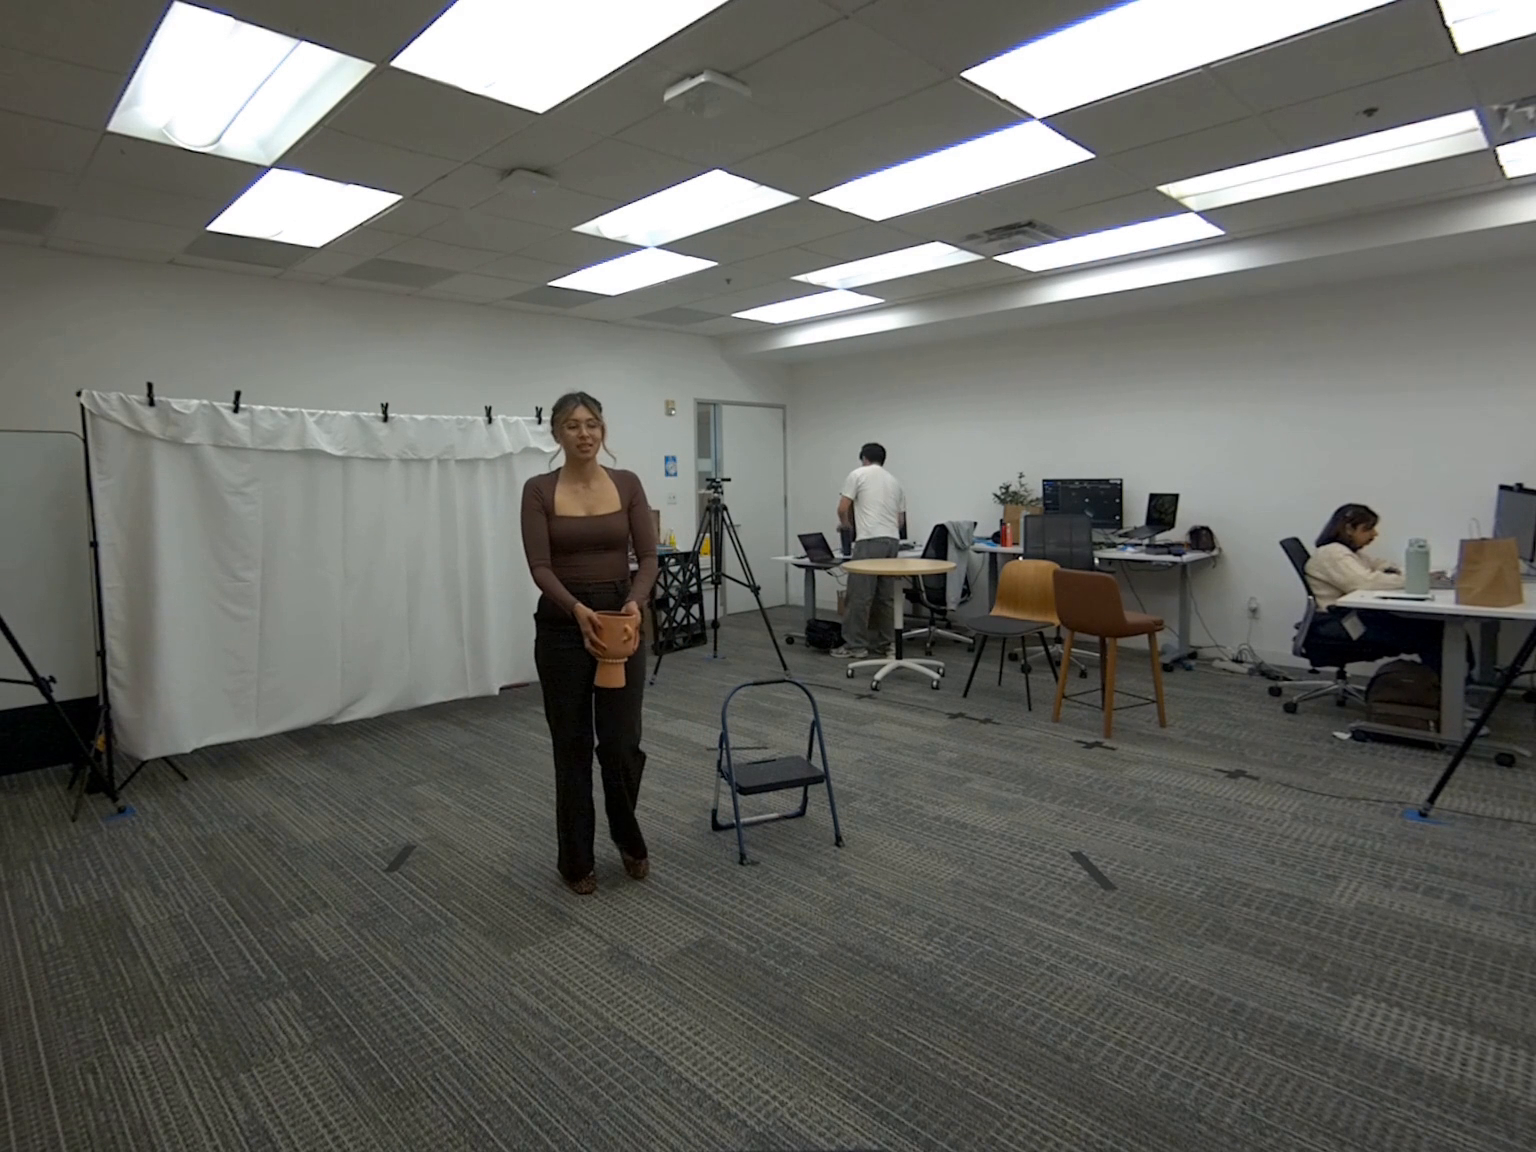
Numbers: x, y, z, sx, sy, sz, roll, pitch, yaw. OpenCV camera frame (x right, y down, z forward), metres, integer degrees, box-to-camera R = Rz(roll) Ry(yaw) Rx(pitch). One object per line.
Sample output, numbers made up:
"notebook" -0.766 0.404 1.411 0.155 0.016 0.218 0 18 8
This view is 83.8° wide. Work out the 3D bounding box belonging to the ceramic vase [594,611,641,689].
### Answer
"ceramic vase" -0.482 0.231 2.652 0.134 0.219 0.159 2 2 -2
